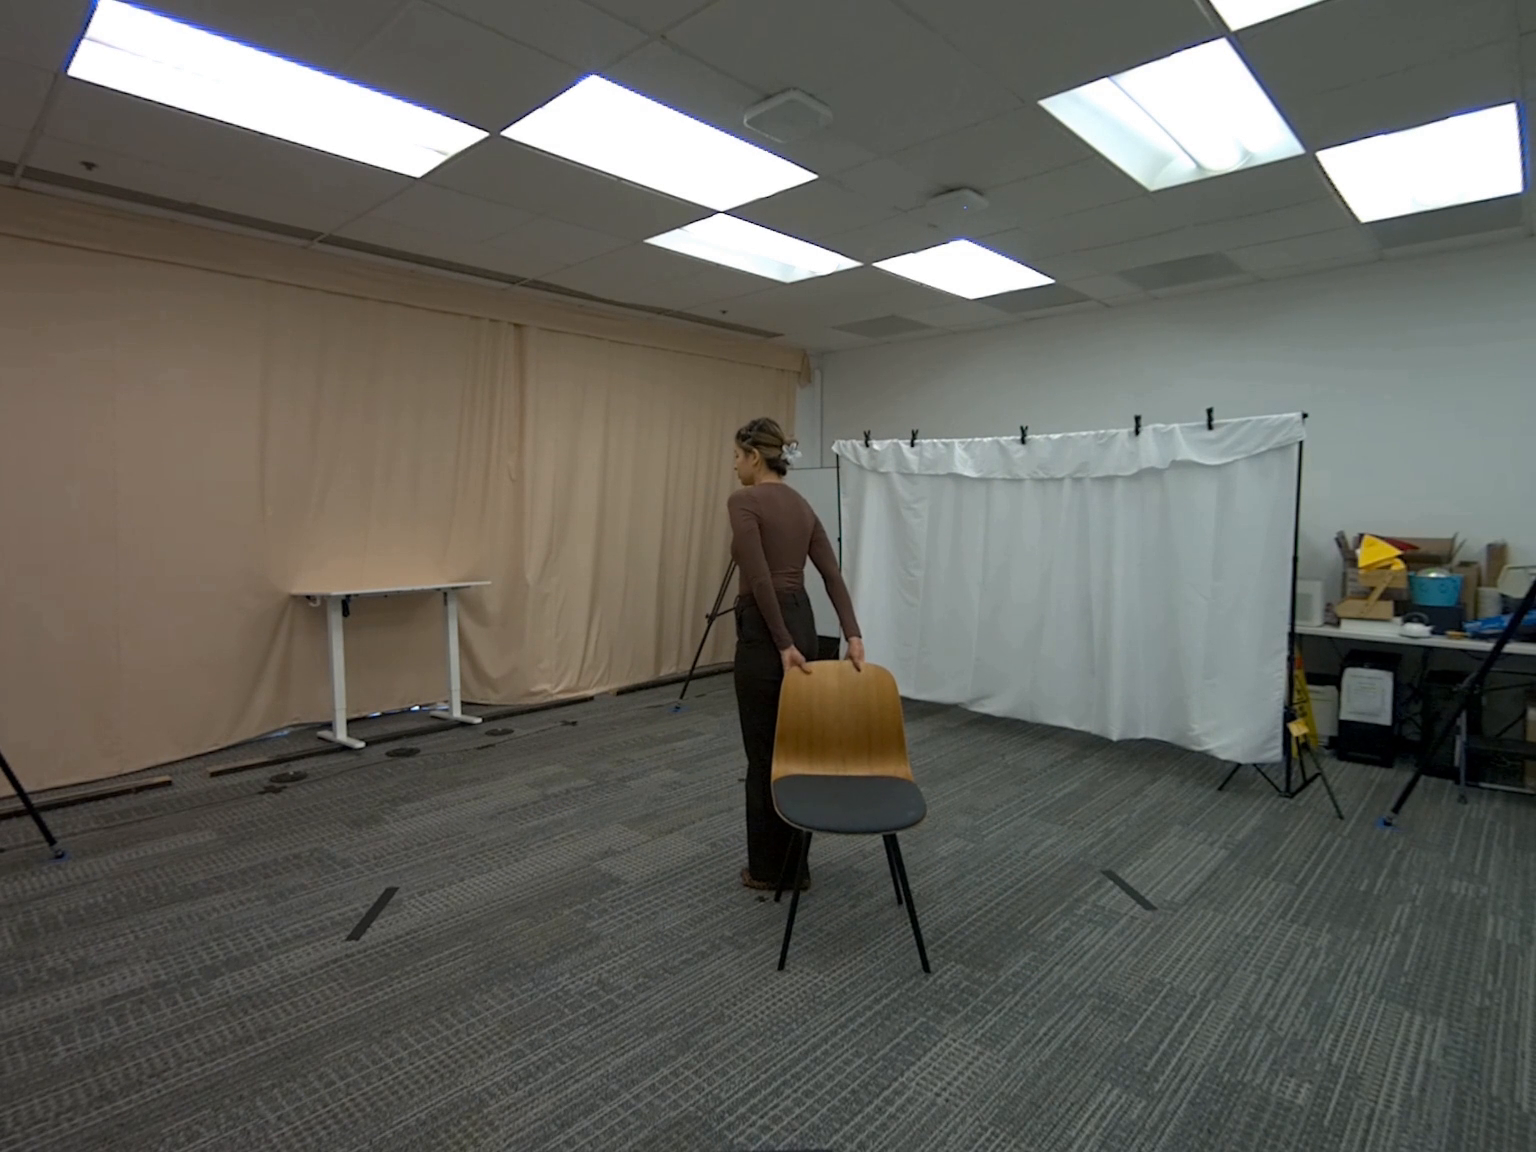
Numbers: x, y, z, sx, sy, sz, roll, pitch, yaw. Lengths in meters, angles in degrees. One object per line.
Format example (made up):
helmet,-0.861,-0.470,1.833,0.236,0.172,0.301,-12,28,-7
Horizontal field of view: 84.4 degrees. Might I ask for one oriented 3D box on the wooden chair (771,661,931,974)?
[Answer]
wooden chair,0.261,0.736,2.697,0.479,0.878,0.521,0,-1,2
